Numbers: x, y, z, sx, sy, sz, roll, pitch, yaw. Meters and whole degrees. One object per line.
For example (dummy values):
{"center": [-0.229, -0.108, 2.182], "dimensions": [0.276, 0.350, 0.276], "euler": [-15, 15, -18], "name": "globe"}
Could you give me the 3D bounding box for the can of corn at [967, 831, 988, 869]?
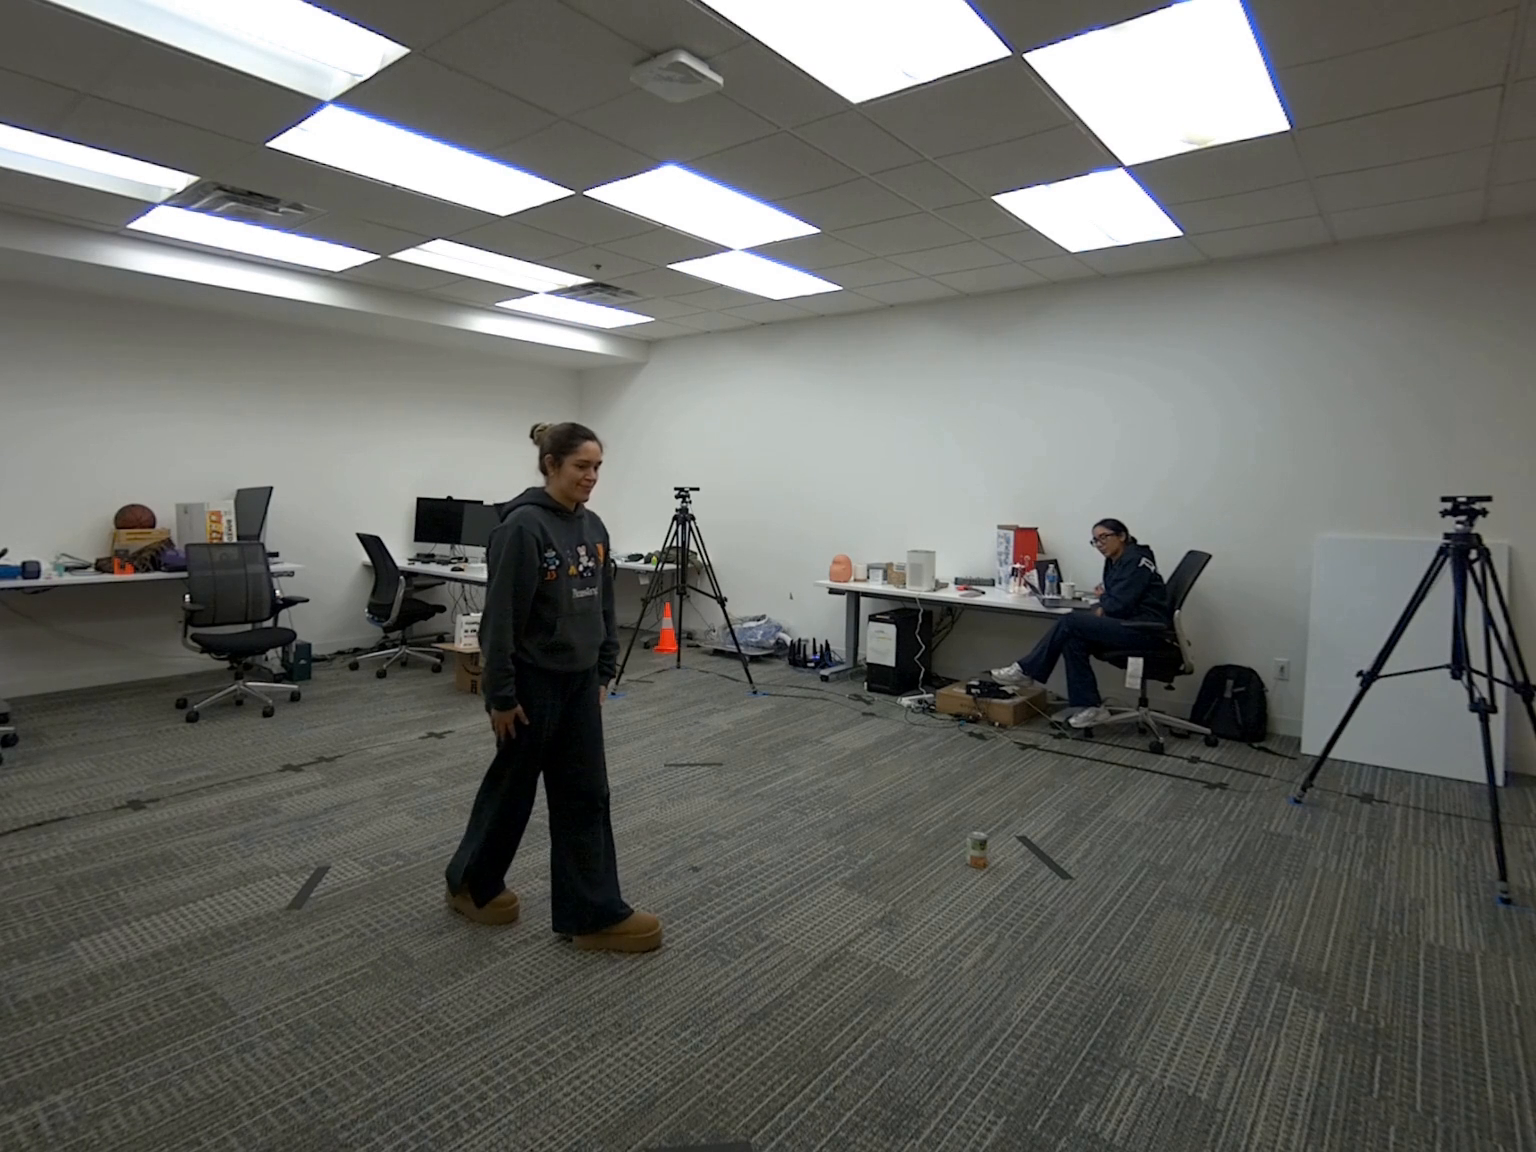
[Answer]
{"center": [0.792, 1.025, 3.198], "dimensions": [0.074, 0.111, 0.074], "euler": [0, 3, -2], "name": "can of corn"}
